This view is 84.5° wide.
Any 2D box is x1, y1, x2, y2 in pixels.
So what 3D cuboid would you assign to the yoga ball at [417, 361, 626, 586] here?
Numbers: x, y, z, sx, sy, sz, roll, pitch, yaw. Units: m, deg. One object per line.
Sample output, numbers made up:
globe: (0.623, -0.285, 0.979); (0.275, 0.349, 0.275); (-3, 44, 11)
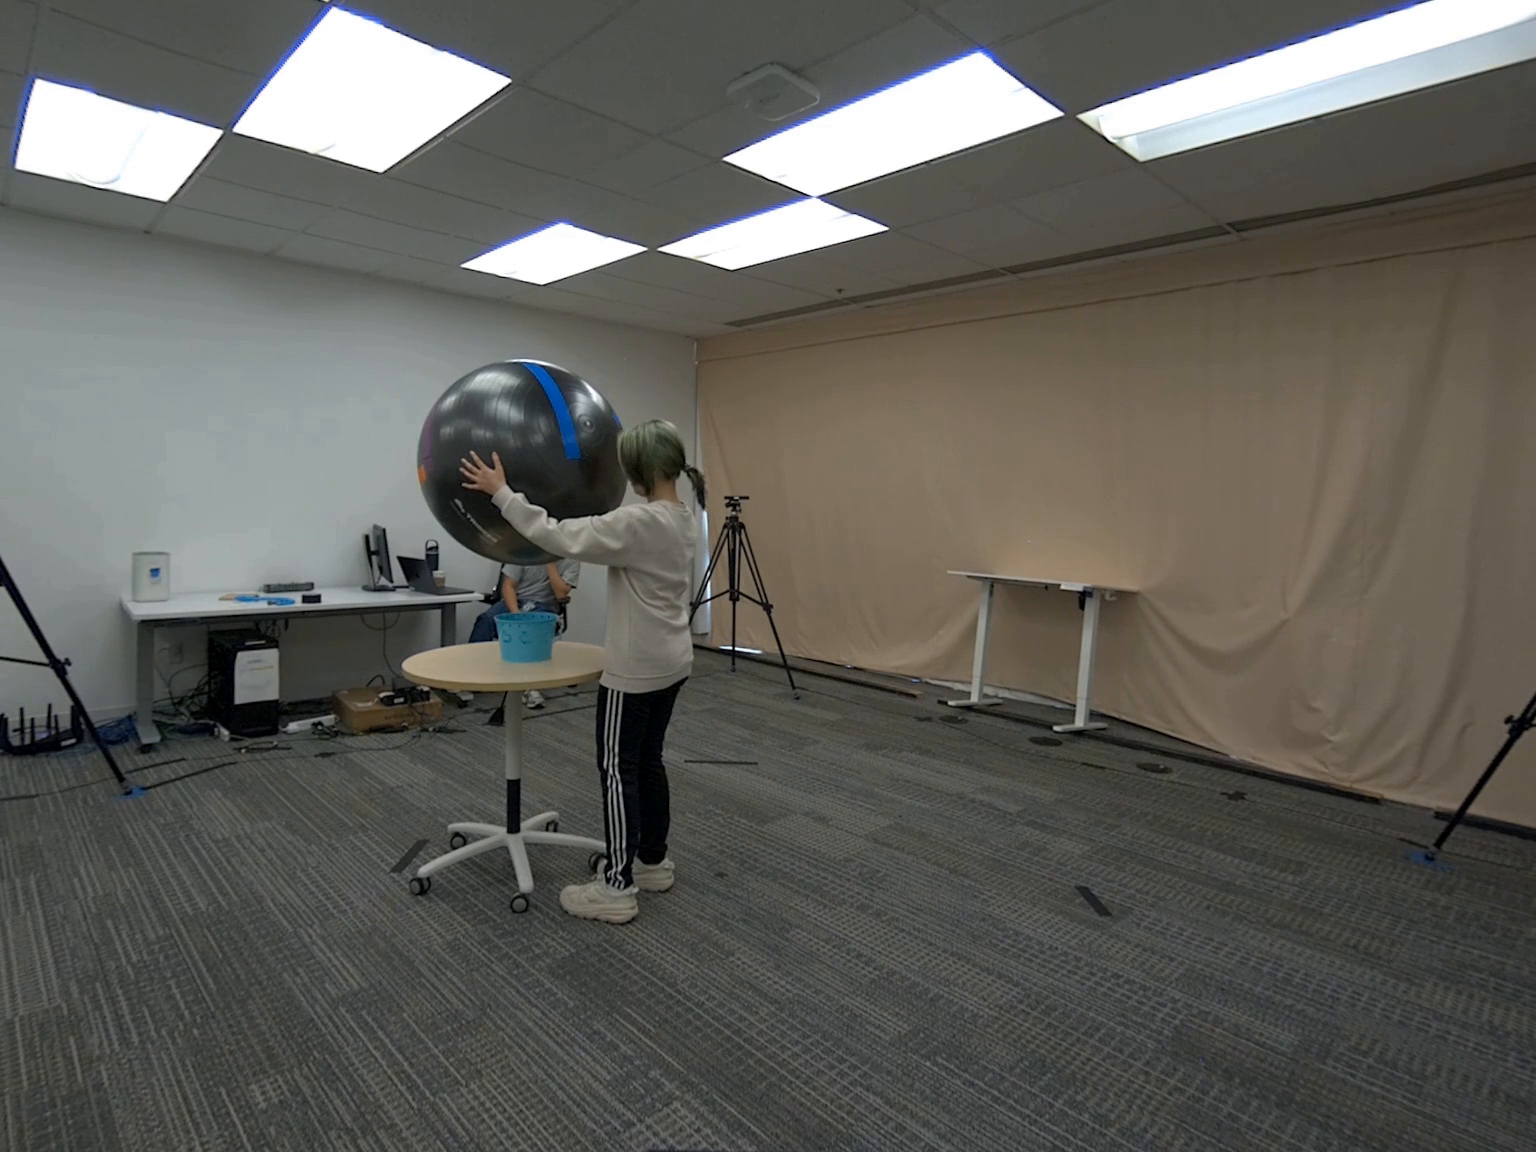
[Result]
yoga ball: (-0.911, -0.408, 3.122); (0.757, 0.756, 0.761); (1, 4, -1)
